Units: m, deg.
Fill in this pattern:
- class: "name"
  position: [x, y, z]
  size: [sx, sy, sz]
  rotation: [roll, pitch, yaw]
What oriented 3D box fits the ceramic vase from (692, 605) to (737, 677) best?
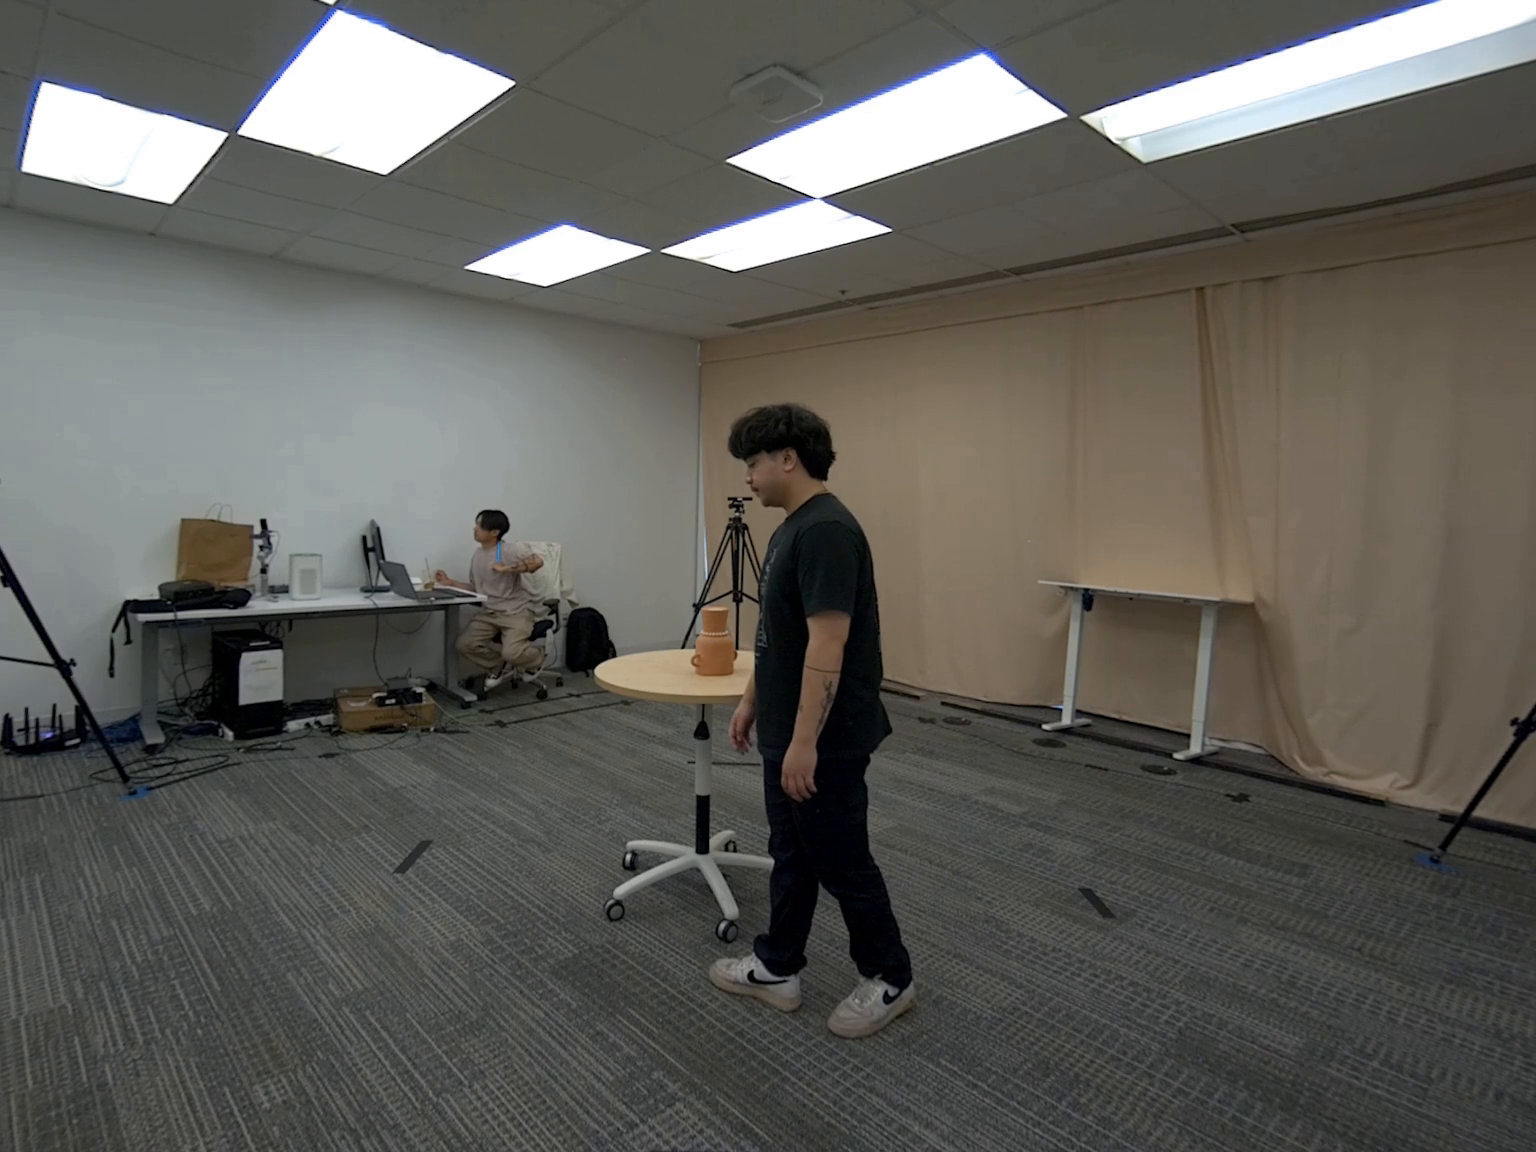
- class: "ceramic vase"
  position: [-0.187, 0.223, 2.895]
  size: [0.136, 0.219, 0.158]
  rotation: [2, 4, 10]
